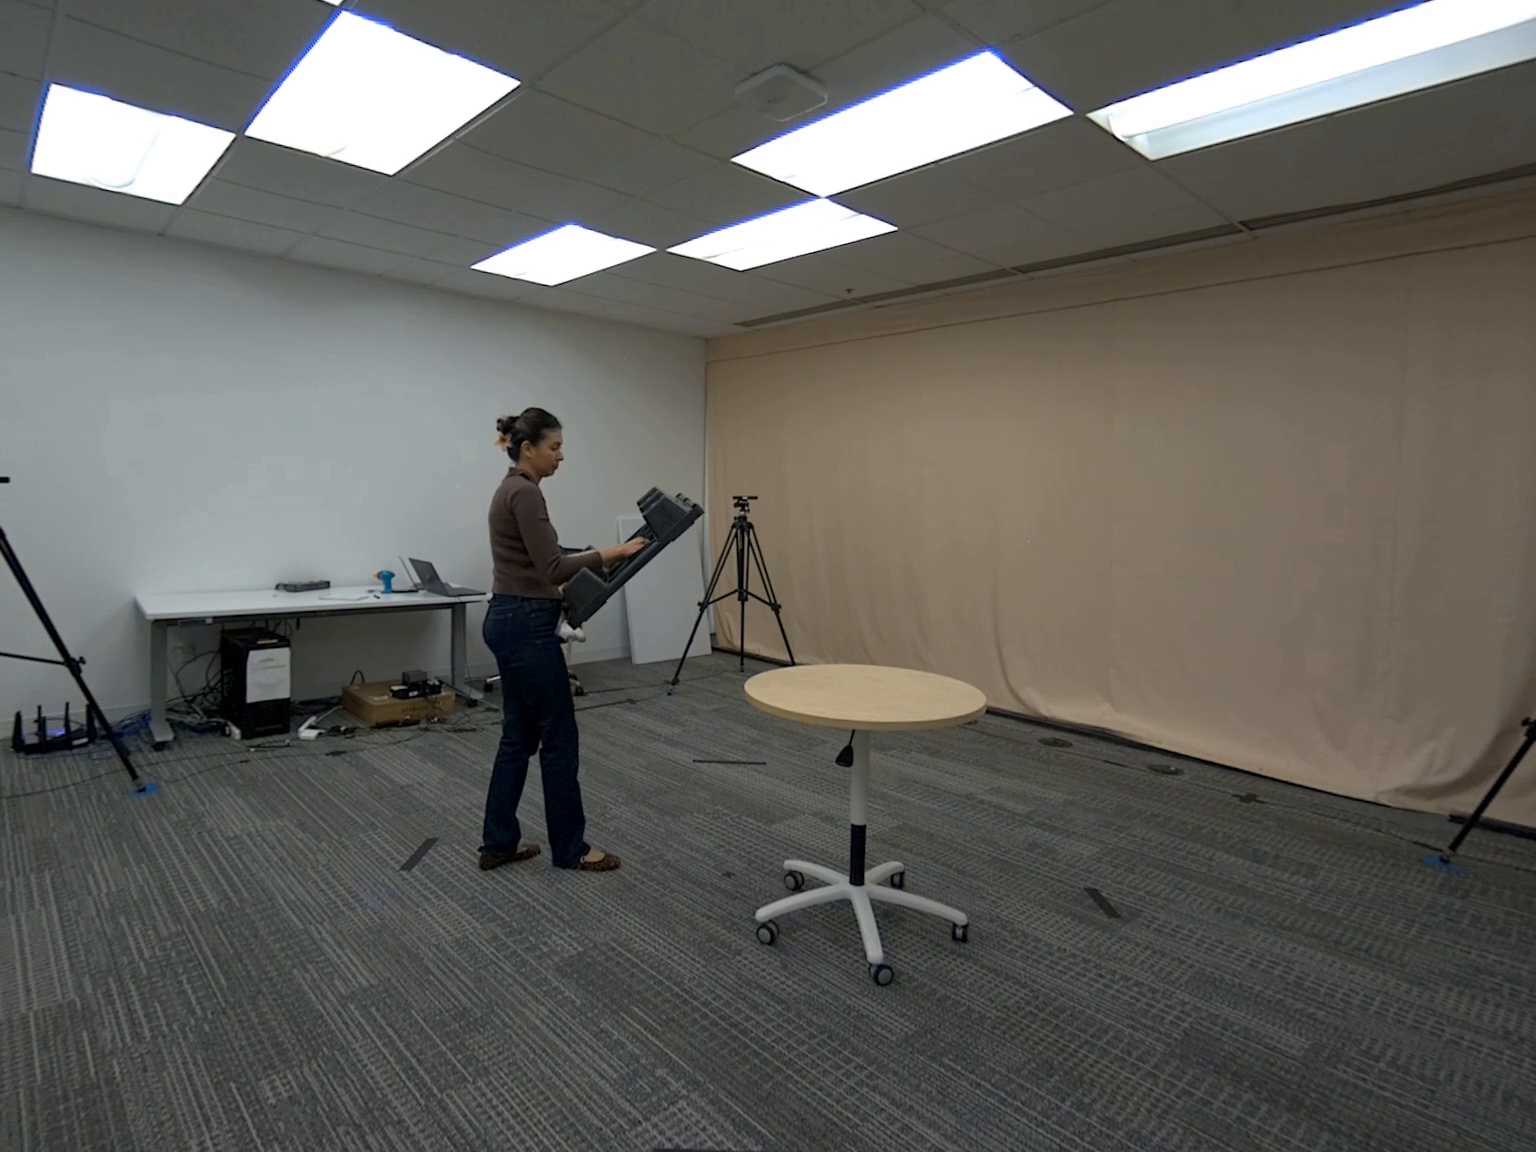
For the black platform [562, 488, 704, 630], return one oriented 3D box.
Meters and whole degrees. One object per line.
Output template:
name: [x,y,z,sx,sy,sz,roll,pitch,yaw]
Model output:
black platform: [-0.552,-0.114,3.216,0.605,0.141,0.815,-43,13,-1]
